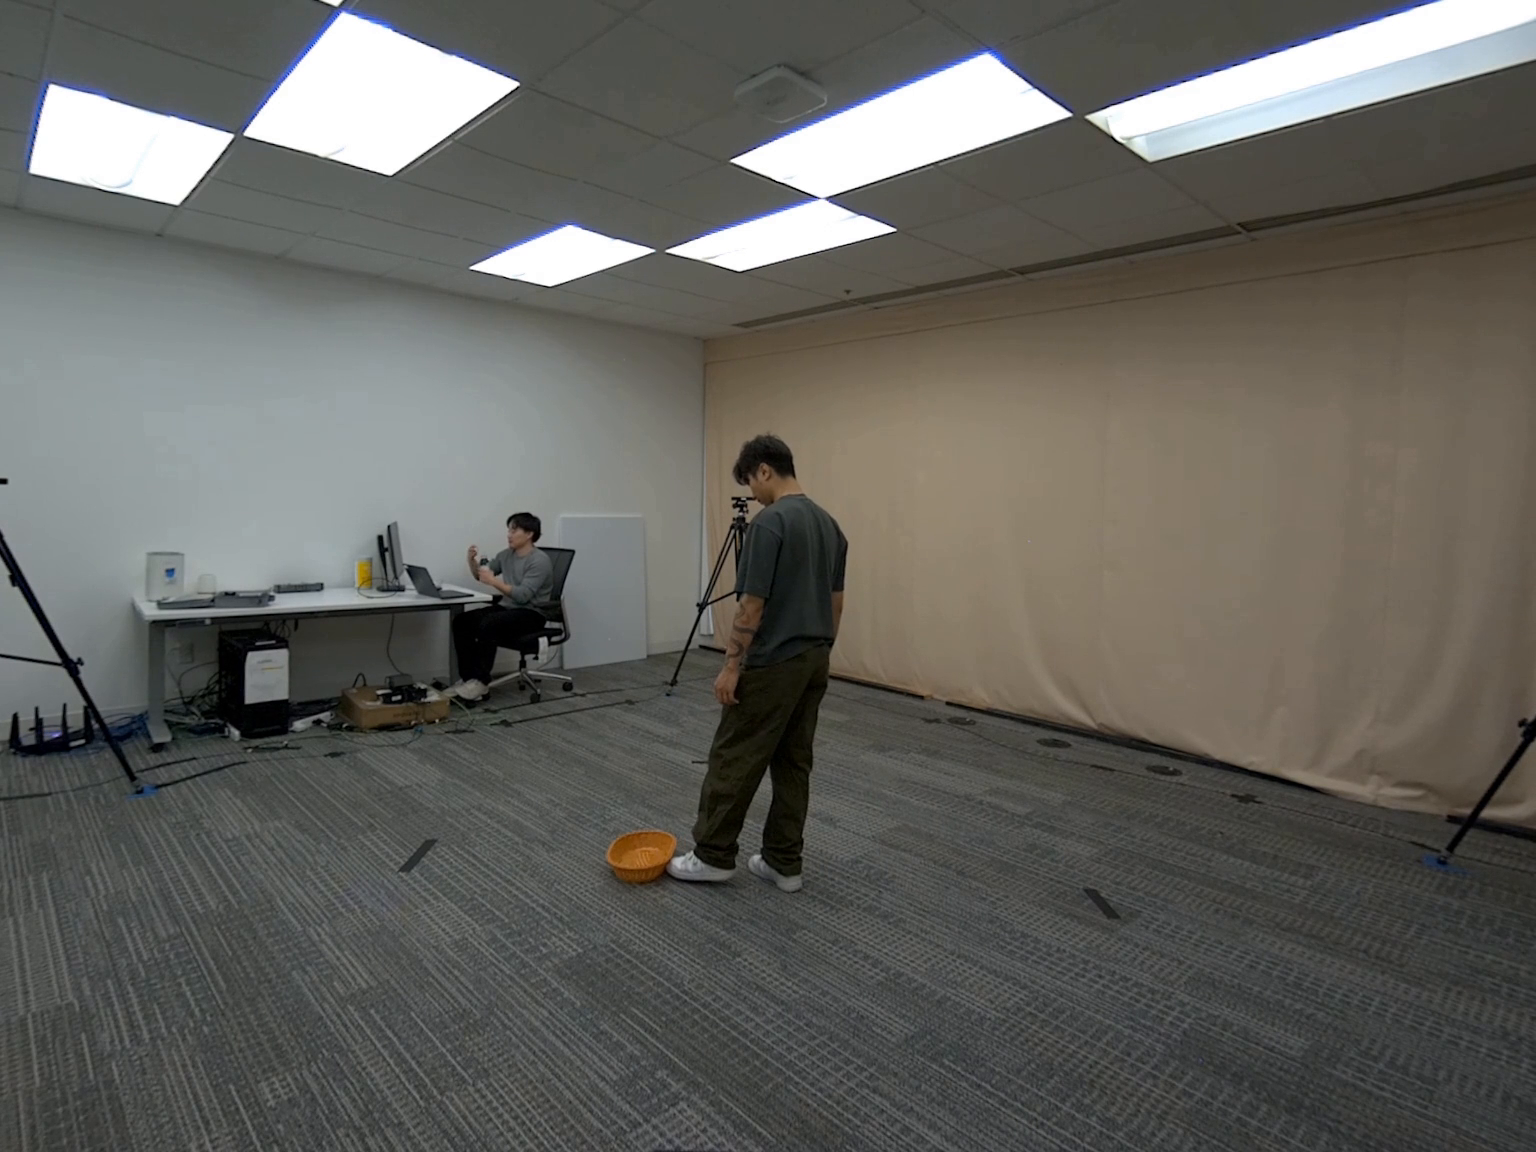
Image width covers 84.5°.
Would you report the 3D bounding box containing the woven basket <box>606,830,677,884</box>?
[{"bbox_3d":[-0.479,1.047,3.161,0.253,0.073,0.350,-1,5,3],"label":"woven basket"}]
